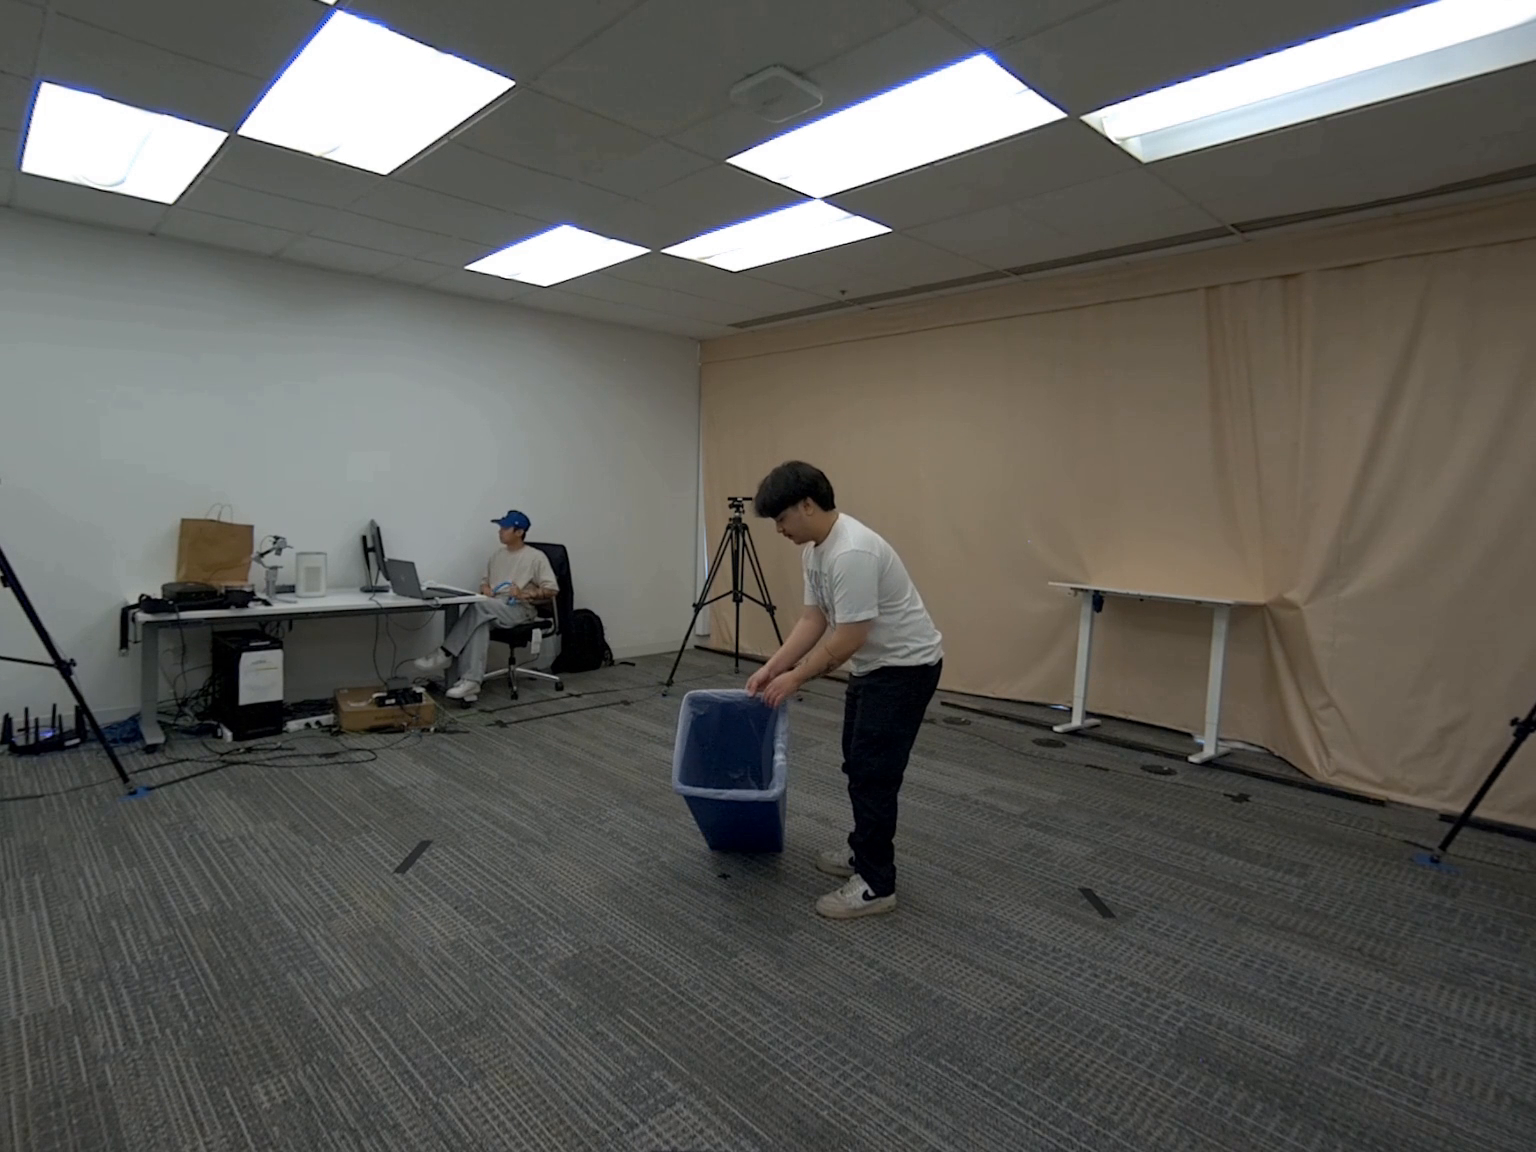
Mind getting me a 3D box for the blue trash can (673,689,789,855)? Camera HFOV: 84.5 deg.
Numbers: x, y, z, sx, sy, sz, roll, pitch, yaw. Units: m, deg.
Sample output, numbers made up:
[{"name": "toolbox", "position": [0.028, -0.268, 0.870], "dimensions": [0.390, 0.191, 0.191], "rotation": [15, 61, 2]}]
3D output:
[{"name": "blue trash can", "position": [-0.117, 0.761, 3.136], "dimensions": [0.376, 0.385, 0.697], "rotation": [1, -36, 5]}]
